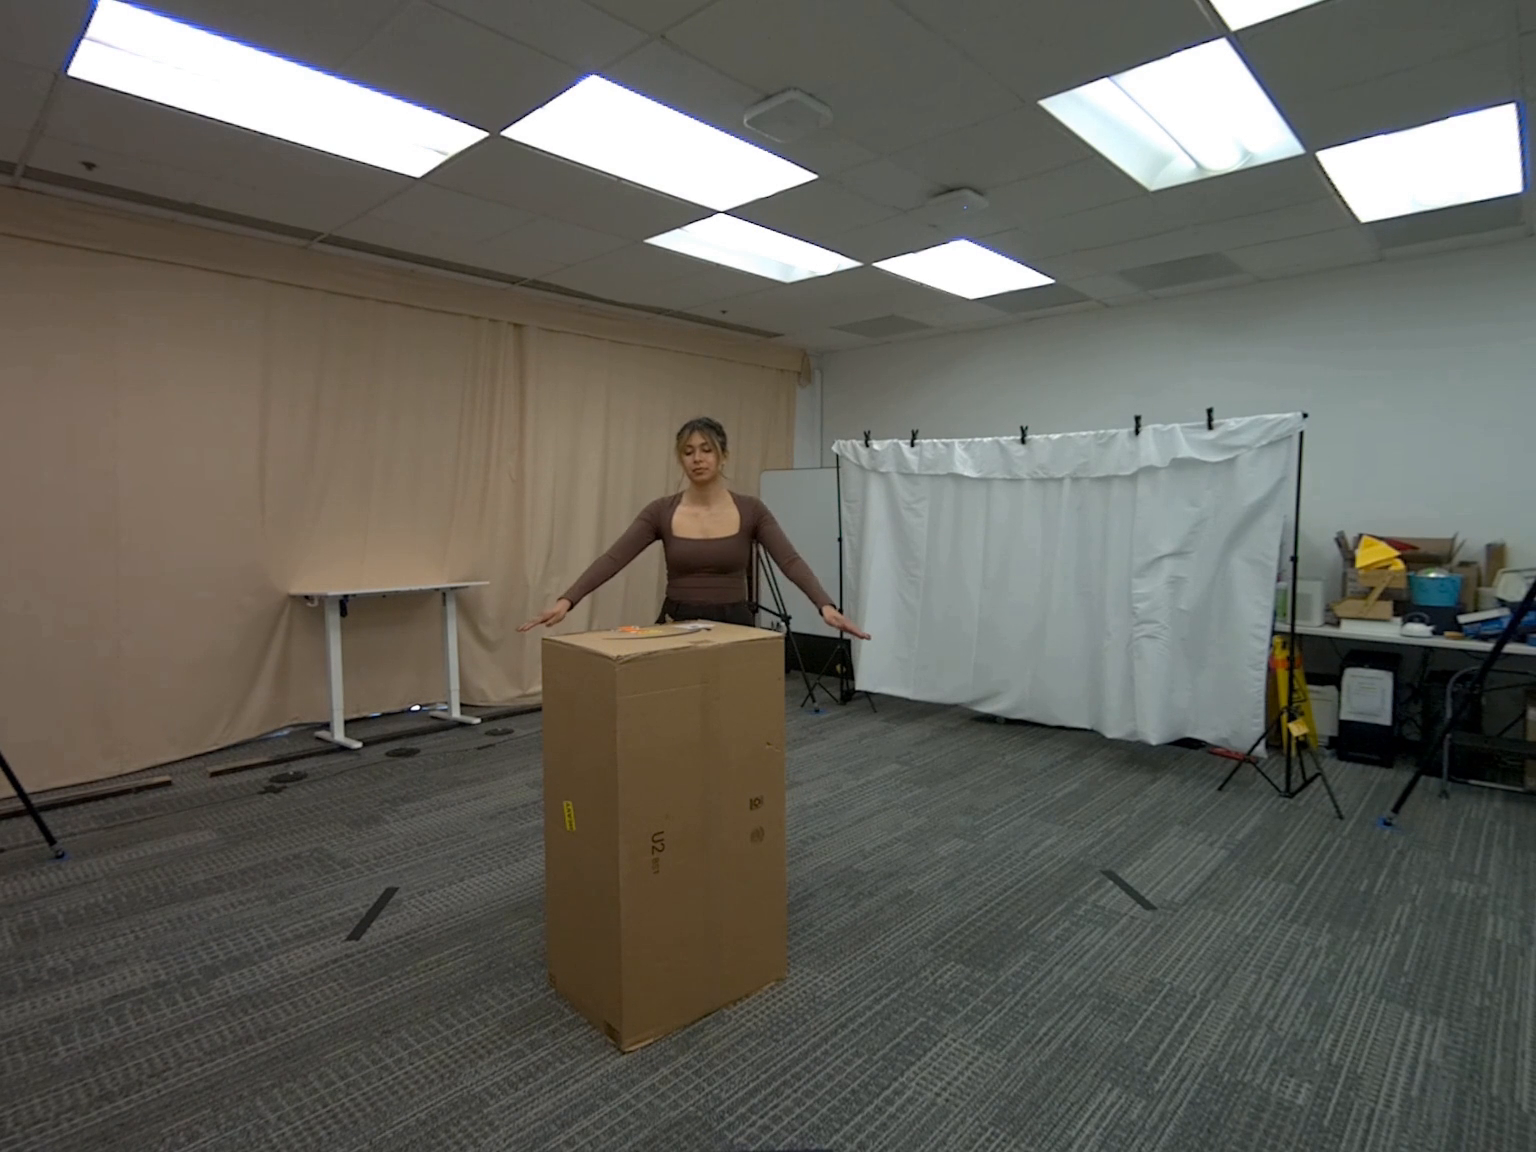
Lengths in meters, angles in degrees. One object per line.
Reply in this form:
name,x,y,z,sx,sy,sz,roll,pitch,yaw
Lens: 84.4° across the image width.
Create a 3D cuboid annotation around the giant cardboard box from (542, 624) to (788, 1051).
giant cardboard box,-0.298,0.681,2.453,0.566,1.025,0.461,-2,3,-39
